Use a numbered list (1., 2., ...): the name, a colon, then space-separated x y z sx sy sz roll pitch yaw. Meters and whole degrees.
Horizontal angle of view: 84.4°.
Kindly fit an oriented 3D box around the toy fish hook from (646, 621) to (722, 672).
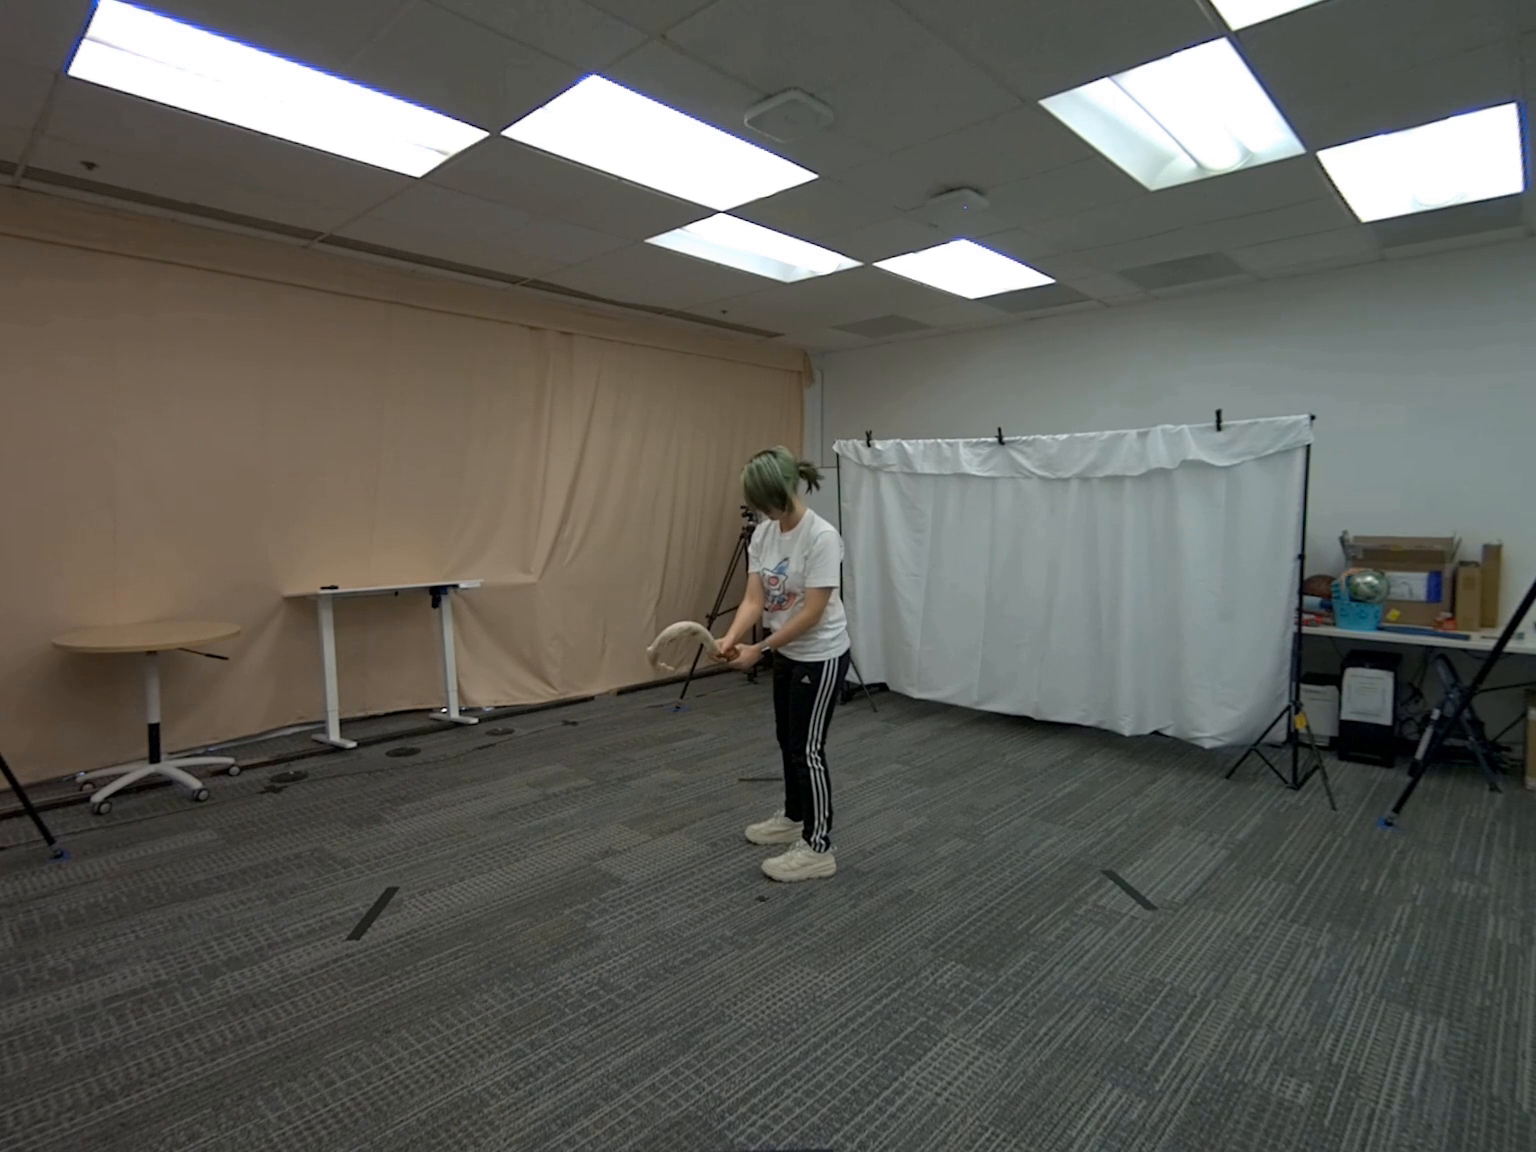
1. toy fish hook: -0.246 0.284 2.914 0.488 0.225 0.050 33 19 -52
